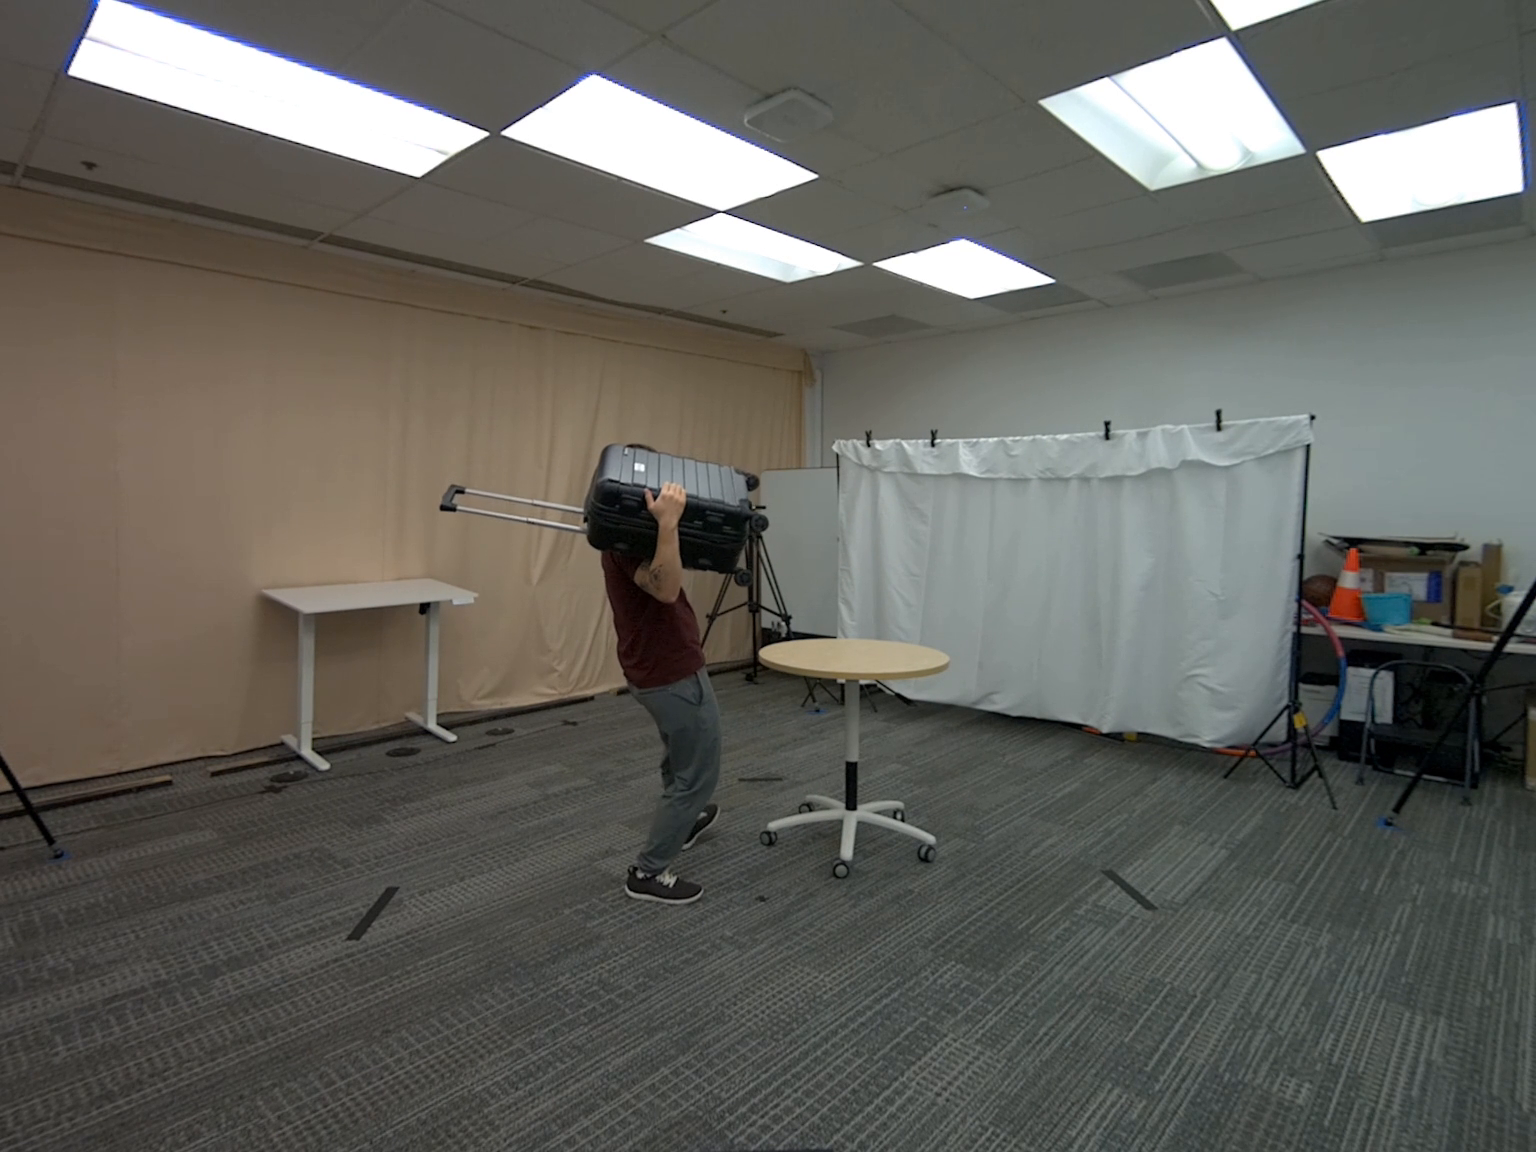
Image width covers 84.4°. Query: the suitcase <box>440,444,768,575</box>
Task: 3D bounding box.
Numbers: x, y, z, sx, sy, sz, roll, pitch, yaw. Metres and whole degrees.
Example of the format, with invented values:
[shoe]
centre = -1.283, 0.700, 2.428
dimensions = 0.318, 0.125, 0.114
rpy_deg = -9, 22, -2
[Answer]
[suitcase]
centre = -0.494, -0.251, 2.660
dimensions = 0.967, 0.255, 0.391
rpy_deg = 11, 29, -10
